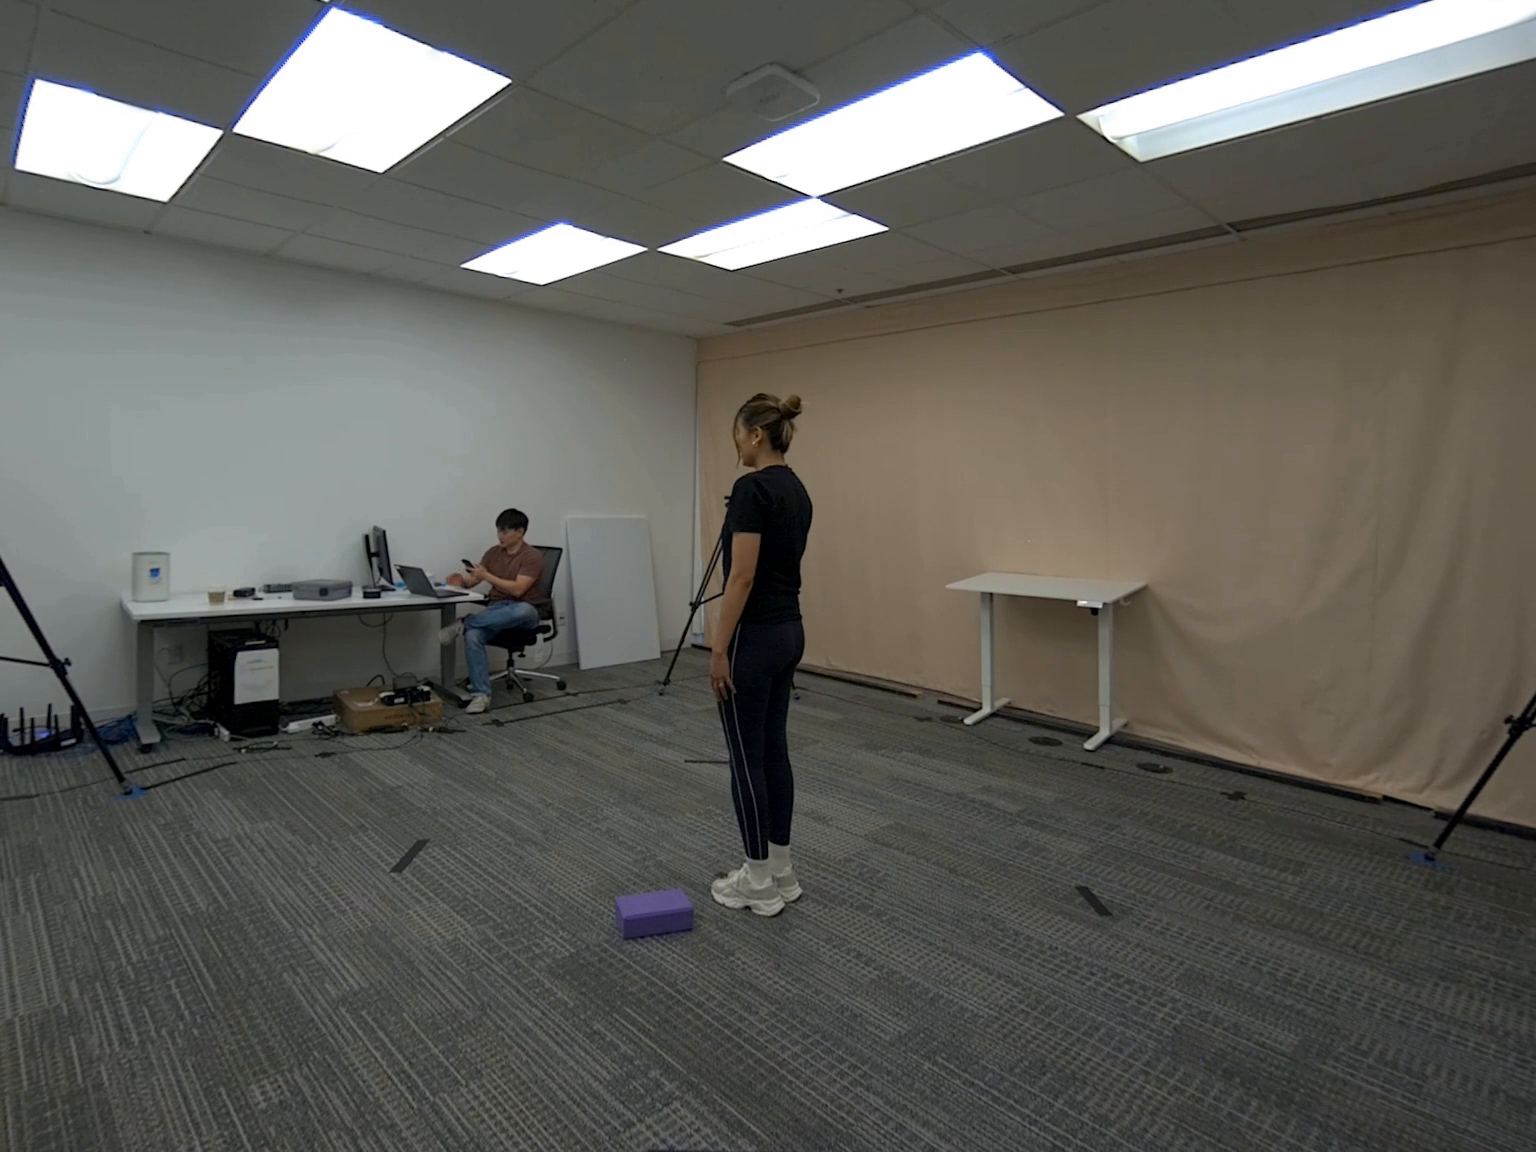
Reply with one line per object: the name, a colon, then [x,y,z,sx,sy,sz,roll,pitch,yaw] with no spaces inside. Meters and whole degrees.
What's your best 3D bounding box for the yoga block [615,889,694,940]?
yoga block: [-0.371,1.093,2.722,0.226,0.076,0.151,0,5,-20]
